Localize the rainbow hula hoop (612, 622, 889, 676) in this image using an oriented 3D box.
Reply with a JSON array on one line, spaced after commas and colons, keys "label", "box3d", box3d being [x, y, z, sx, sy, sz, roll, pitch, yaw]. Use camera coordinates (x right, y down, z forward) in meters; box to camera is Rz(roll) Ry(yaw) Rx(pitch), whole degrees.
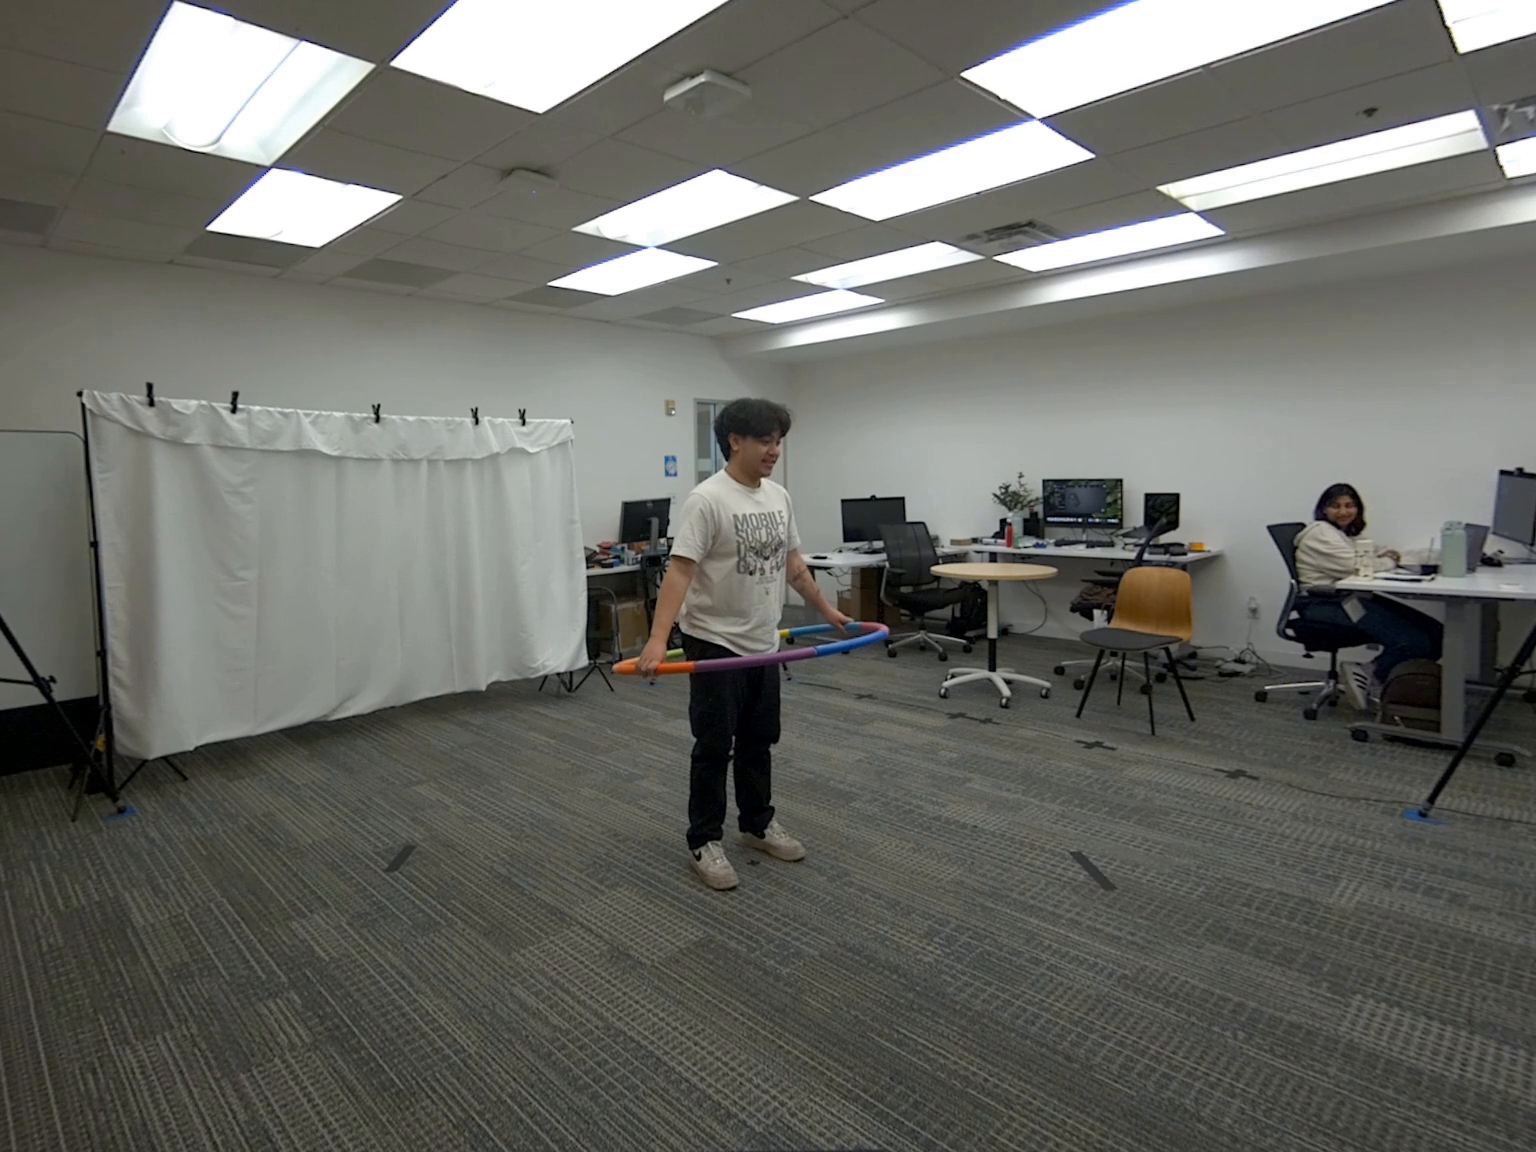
[{"label": "rainbow hula hoop", "box3d": [-0.059, 0.260, 3.046, 0.984, 0.052, 0.984, -8, 0, -2]}]
